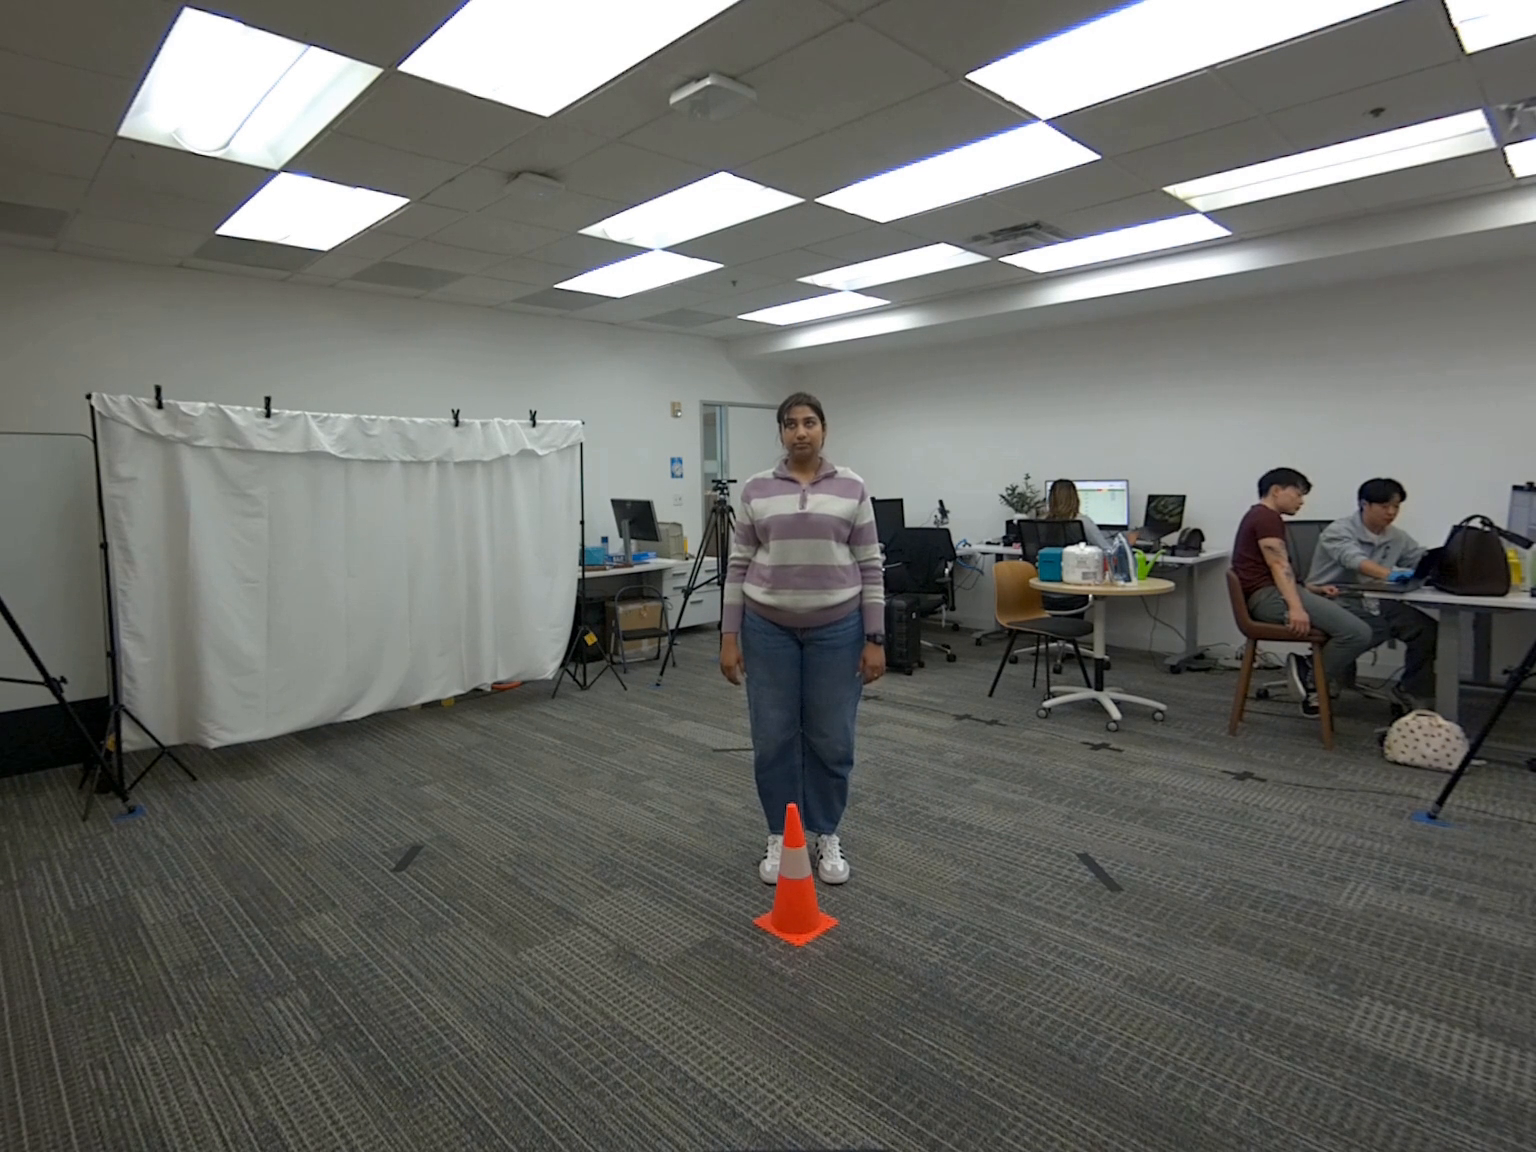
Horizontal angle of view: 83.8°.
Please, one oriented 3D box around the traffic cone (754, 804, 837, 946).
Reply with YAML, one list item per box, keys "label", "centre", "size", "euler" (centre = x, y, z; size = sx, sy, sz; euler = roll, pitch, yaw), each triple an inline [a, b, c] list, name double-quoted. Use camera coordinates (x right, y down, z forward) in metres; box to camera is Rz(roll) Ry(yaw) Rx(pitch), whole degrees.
- label: "traffic cone"
  centre: [0.089, 0.912, 2.682]
  size: [0.211, 0.382, 0.198]
  euler: [2, 6, 41]
